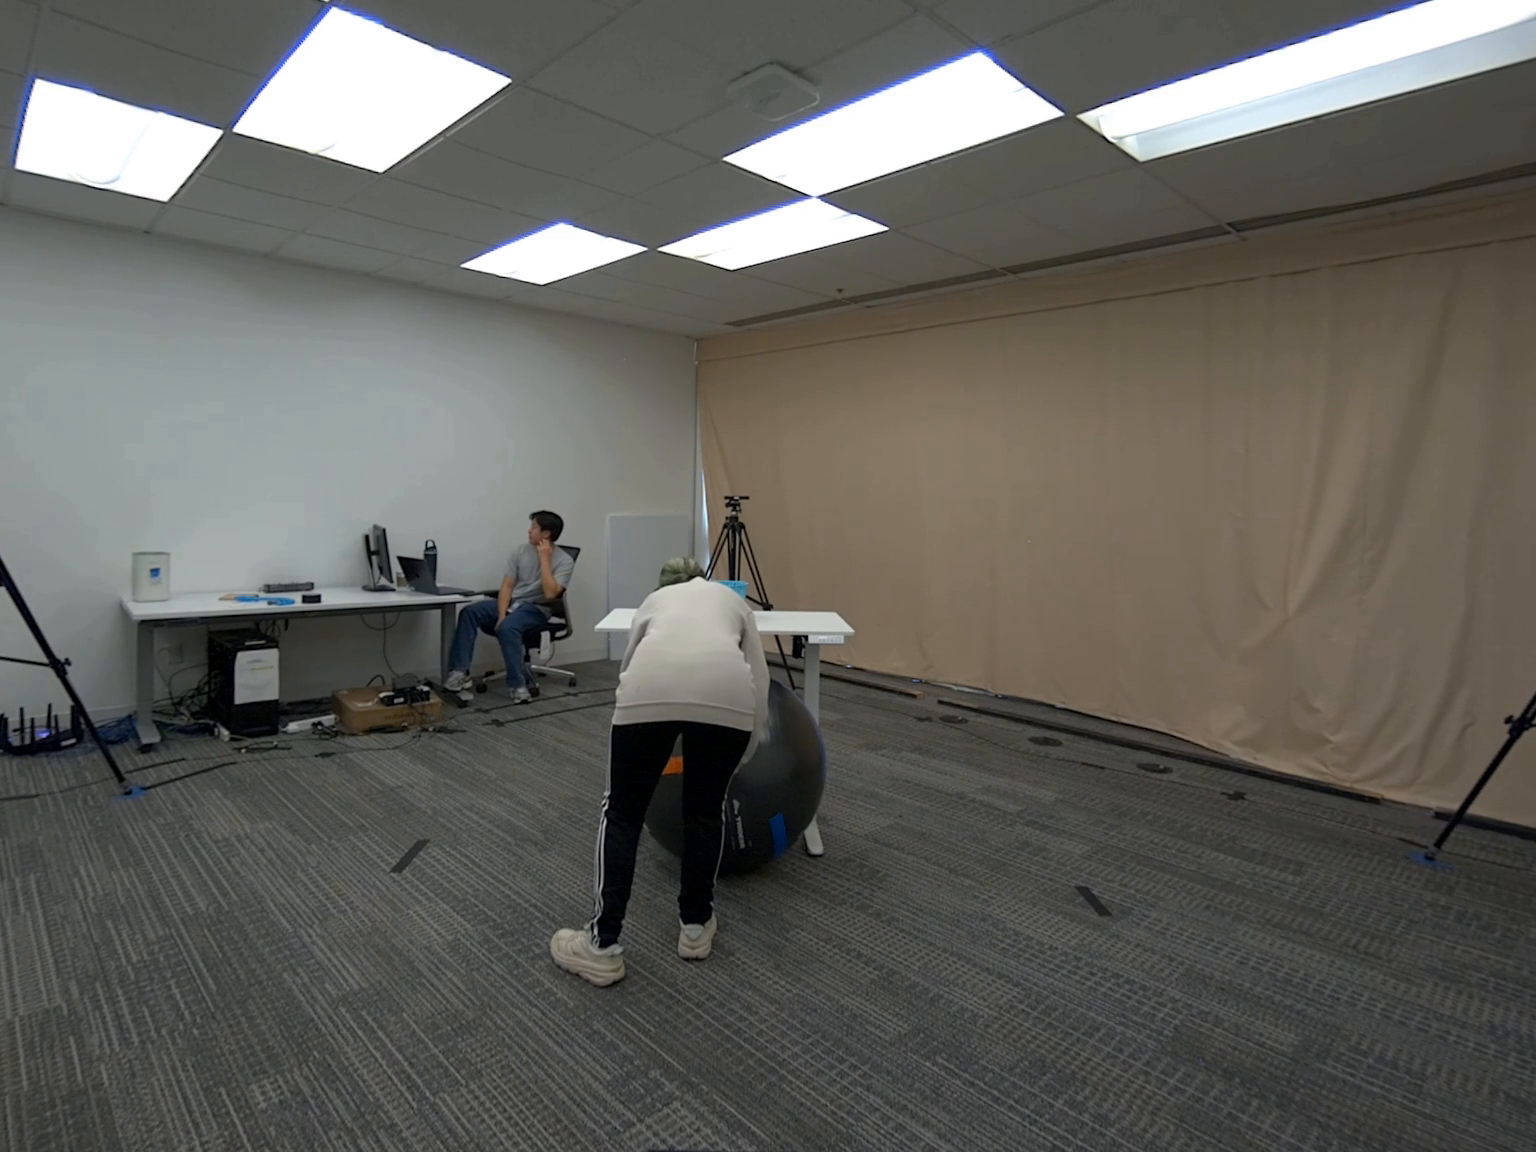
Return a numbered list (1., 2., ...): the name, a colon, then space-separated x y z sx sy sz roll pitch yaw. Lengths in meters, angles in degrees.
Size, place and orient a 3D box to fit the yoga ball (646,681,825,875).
1. yoga ball: -0.163 0.728 3.210 0.757 0.756 0.761 1 4 -1
